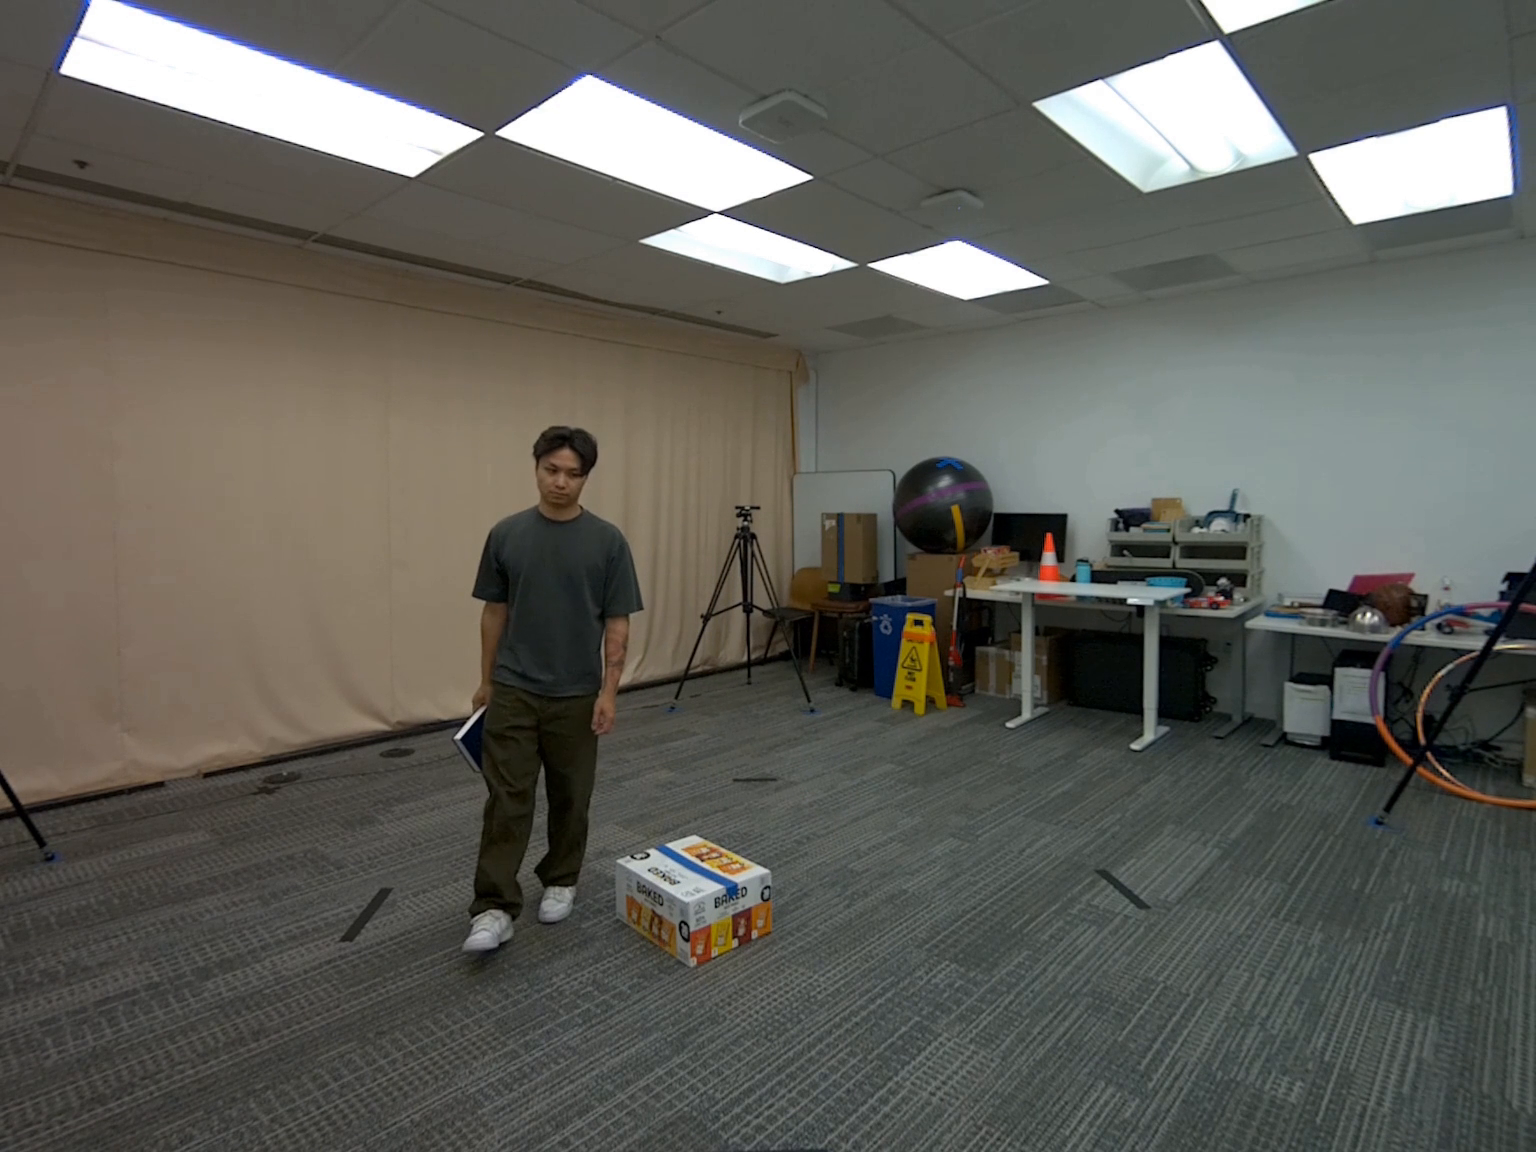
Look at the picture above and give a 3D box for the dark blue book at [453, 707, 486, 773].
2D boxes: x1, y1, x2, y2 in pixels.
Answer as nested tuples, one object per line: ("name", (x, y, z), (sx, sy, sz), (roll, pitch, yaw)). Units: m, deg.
("dark blue book", (-0.971, 0.537, 2.916), (0.046, 0.159, 0.244), (-7, 32, 30))
